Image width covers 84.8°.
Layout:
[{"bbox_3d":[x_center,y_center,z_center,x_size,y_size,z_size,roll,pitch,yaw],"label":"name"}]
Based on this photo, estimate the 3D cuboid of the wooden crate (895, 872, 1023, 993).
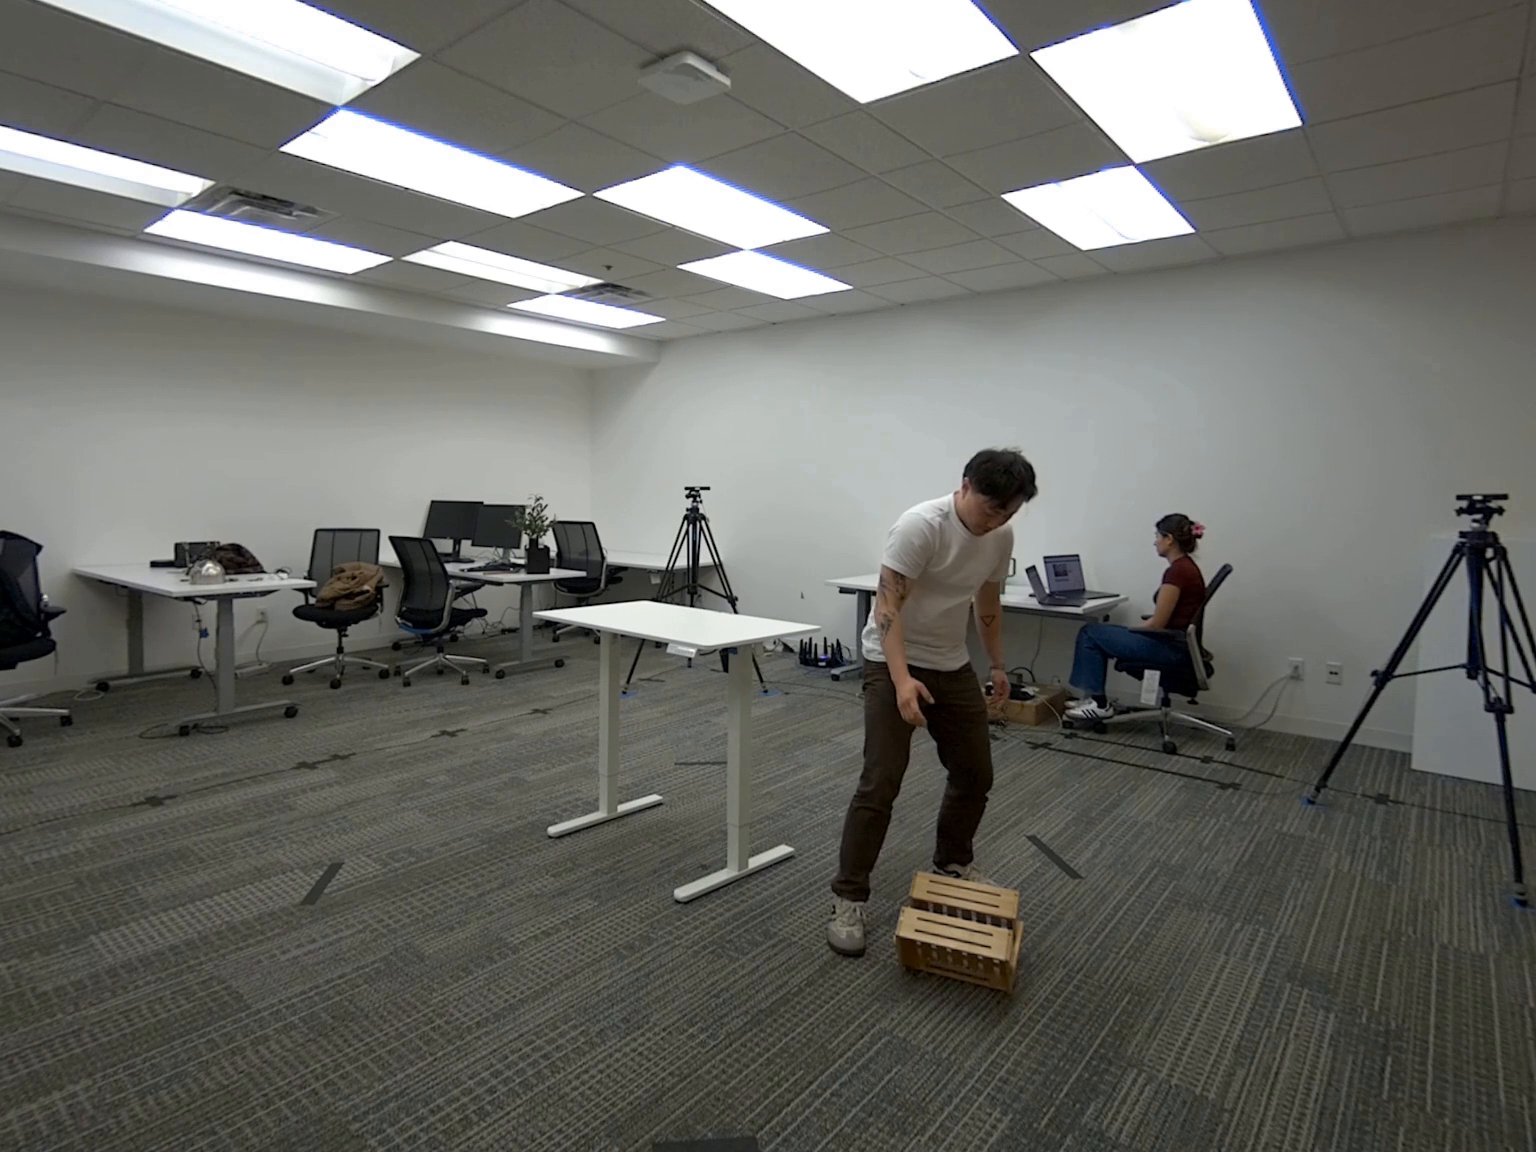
[{"bbox_3d":[0.547,1.054,2.464,0.332,0.293,0.275,3,32,23],"label":"wooden crate"}]
